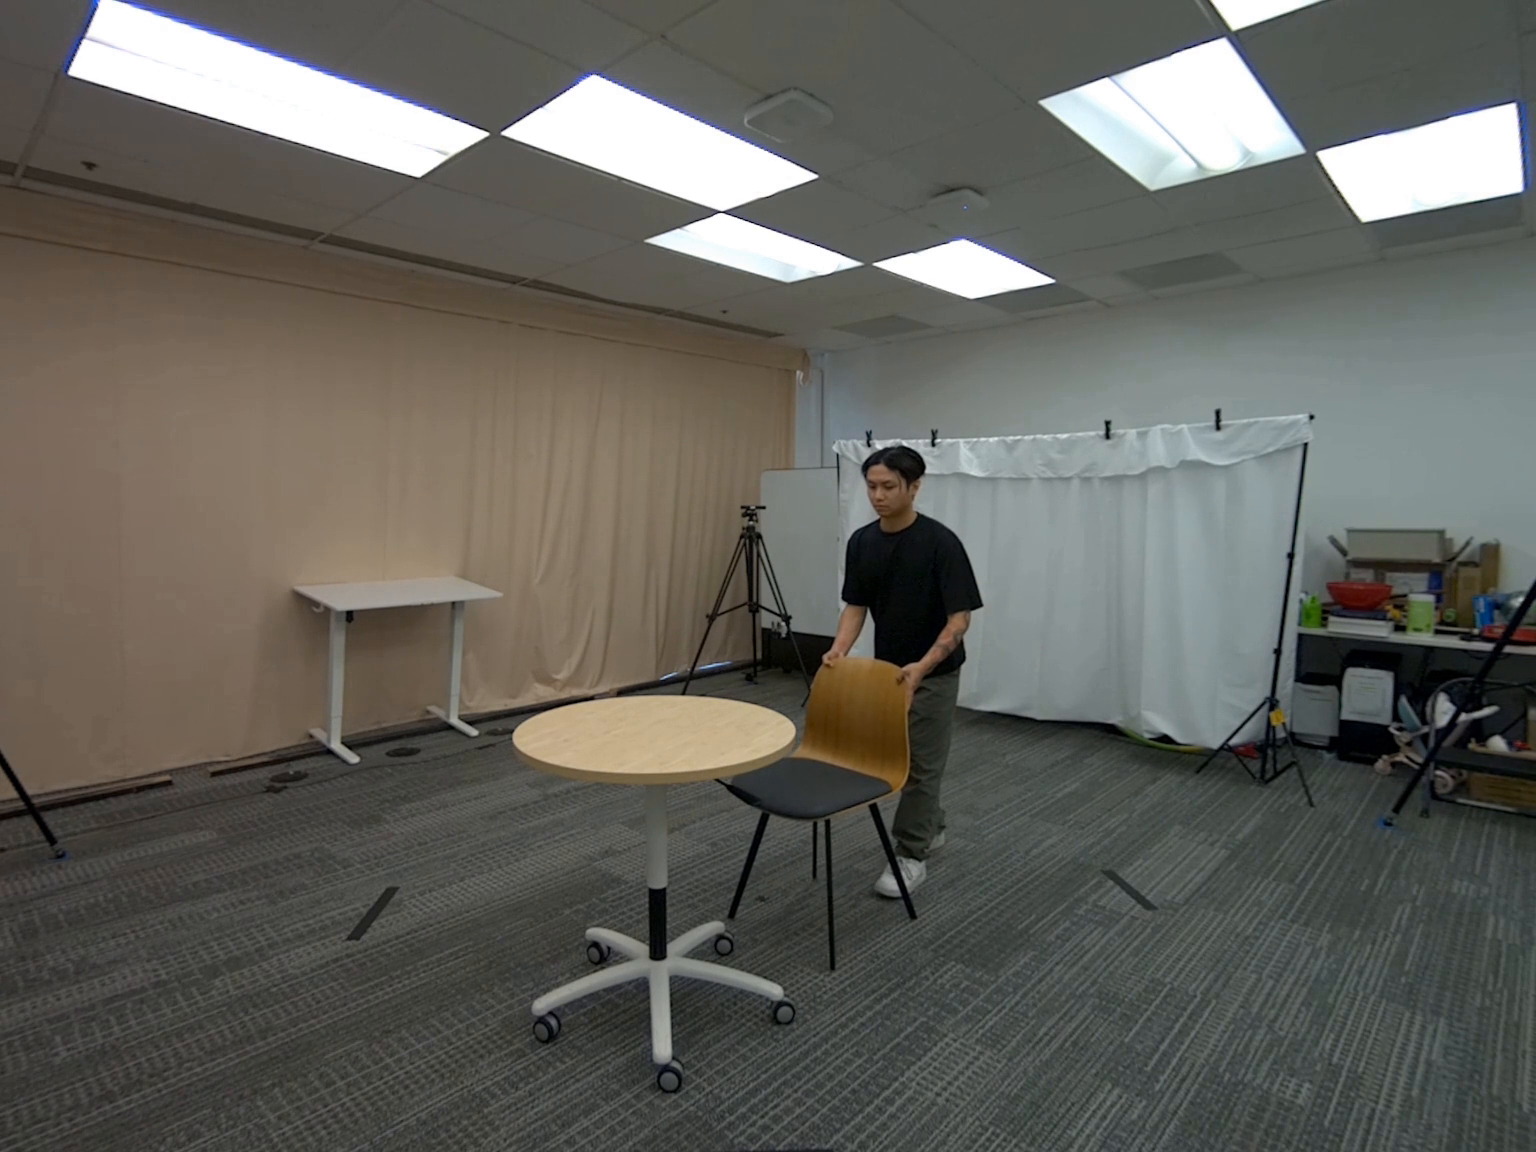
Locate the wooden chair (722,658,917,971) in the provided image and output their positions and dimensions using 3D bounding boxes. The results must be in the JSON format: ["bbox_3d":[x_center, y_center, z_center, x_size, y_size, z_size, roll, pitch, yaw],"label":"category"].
[{"bbox_3d":[0.180,0.730,2.799,0.494,0.877,0.506,4,1,44],"label":"wooden chair"}]
